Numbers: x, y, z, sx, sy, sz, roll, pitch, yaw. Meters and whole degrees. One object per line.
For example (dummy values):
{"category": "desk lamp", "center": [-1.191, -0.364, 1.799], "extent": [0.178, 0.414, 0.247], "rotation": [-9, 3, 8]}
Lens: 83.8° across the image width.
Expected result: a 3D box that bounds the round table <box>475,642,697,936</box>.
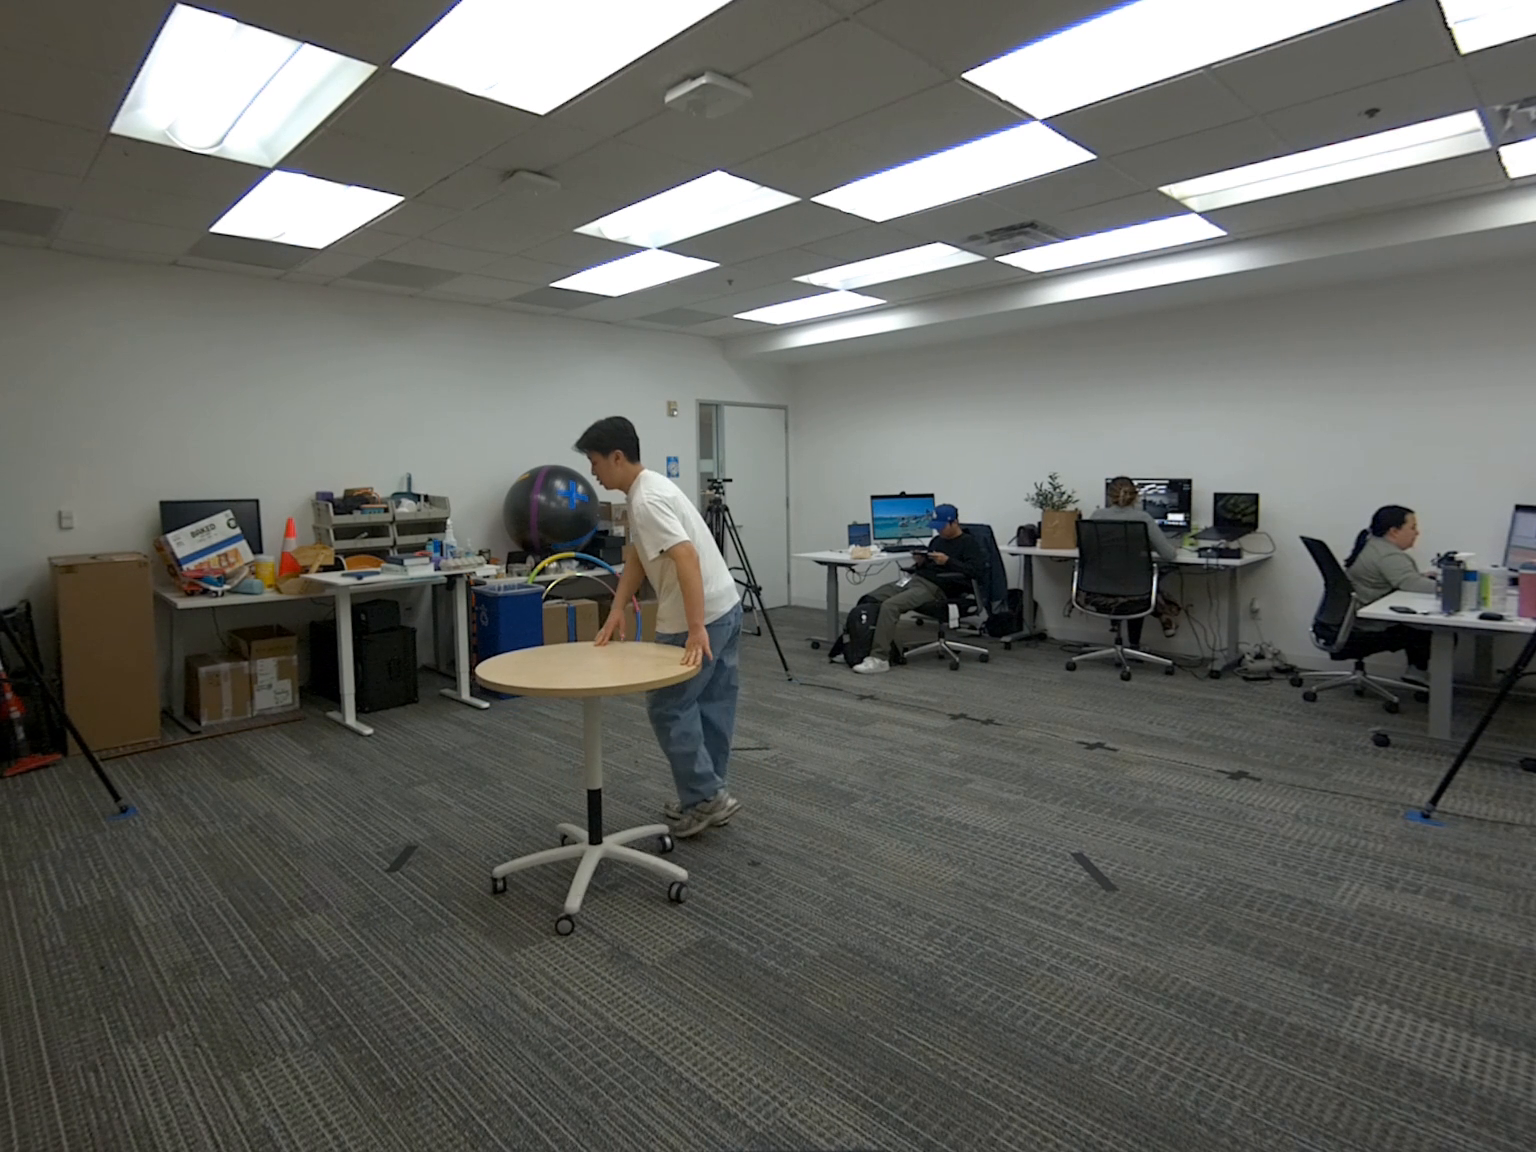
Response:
{"category": "round table", "center": [-0.605, 0.686, 2.966], "extent": [0.763, 0.791, 0.768], "rotation": [-1, 5, -2]}
